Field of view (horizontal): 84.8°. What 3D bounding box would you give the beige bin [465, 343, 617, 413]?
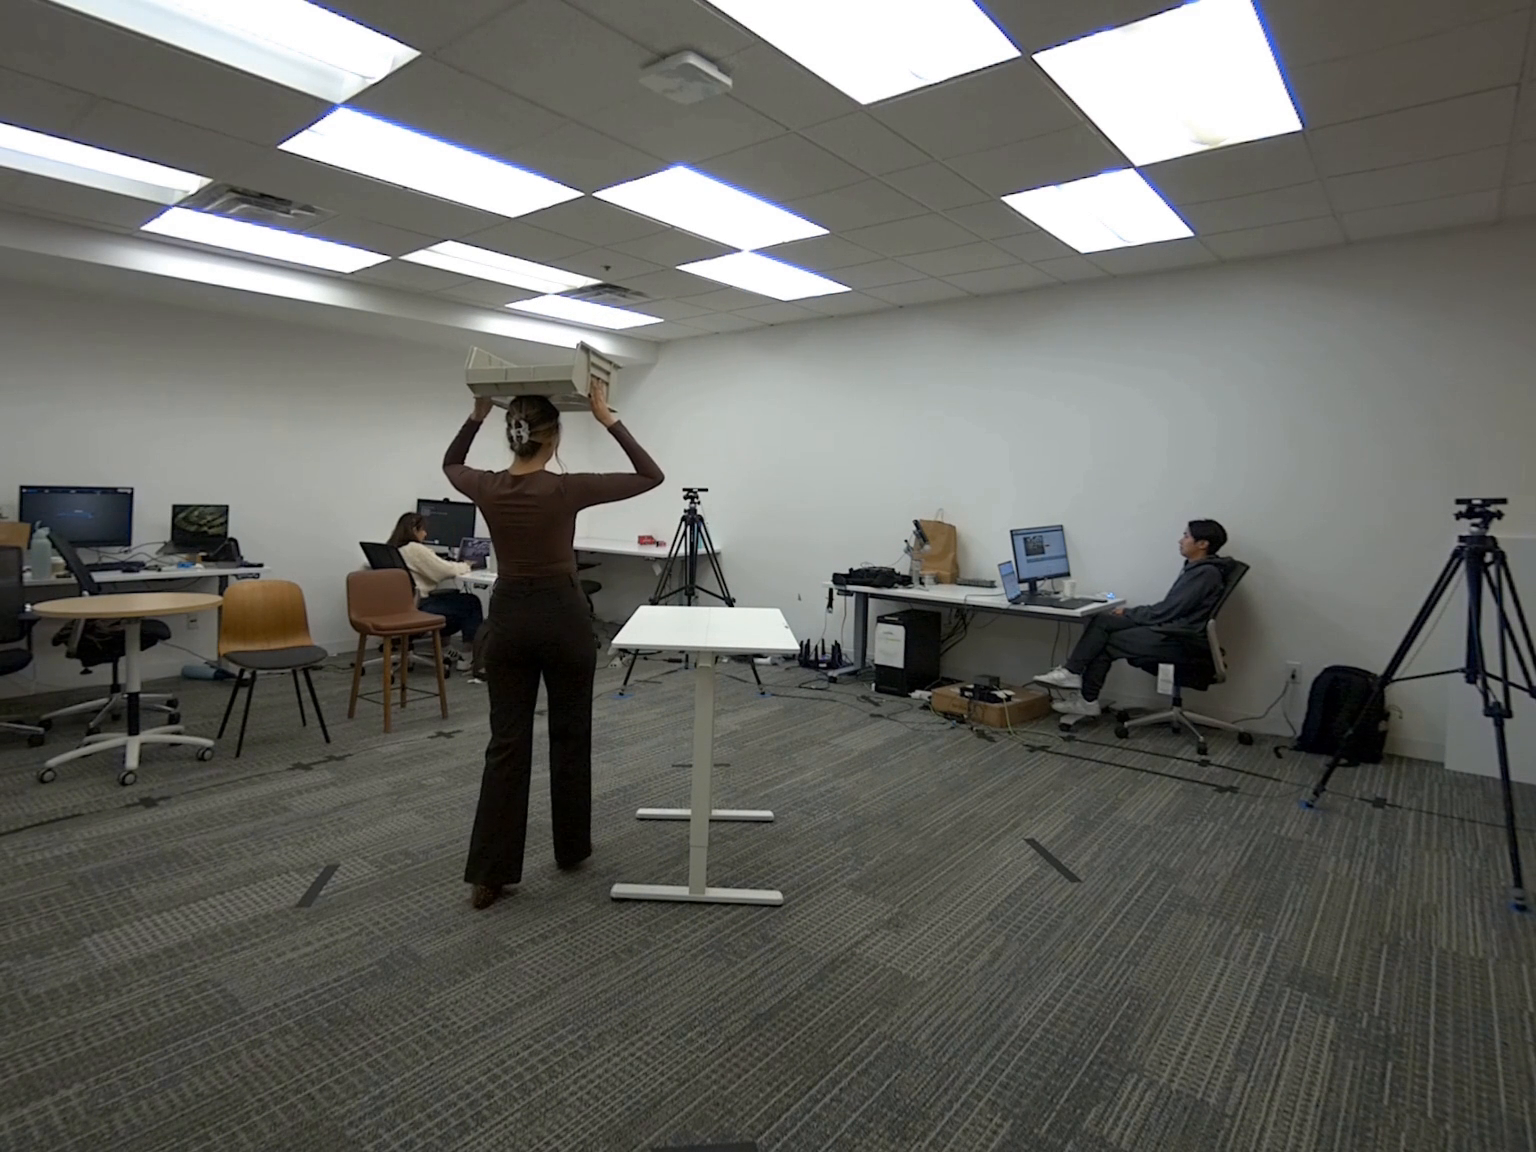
[{"bbox_3d":[-0.795,-0.699,3.005,0.430,0.189,0.370,2,-1,15],"label":"beige bin"}]
